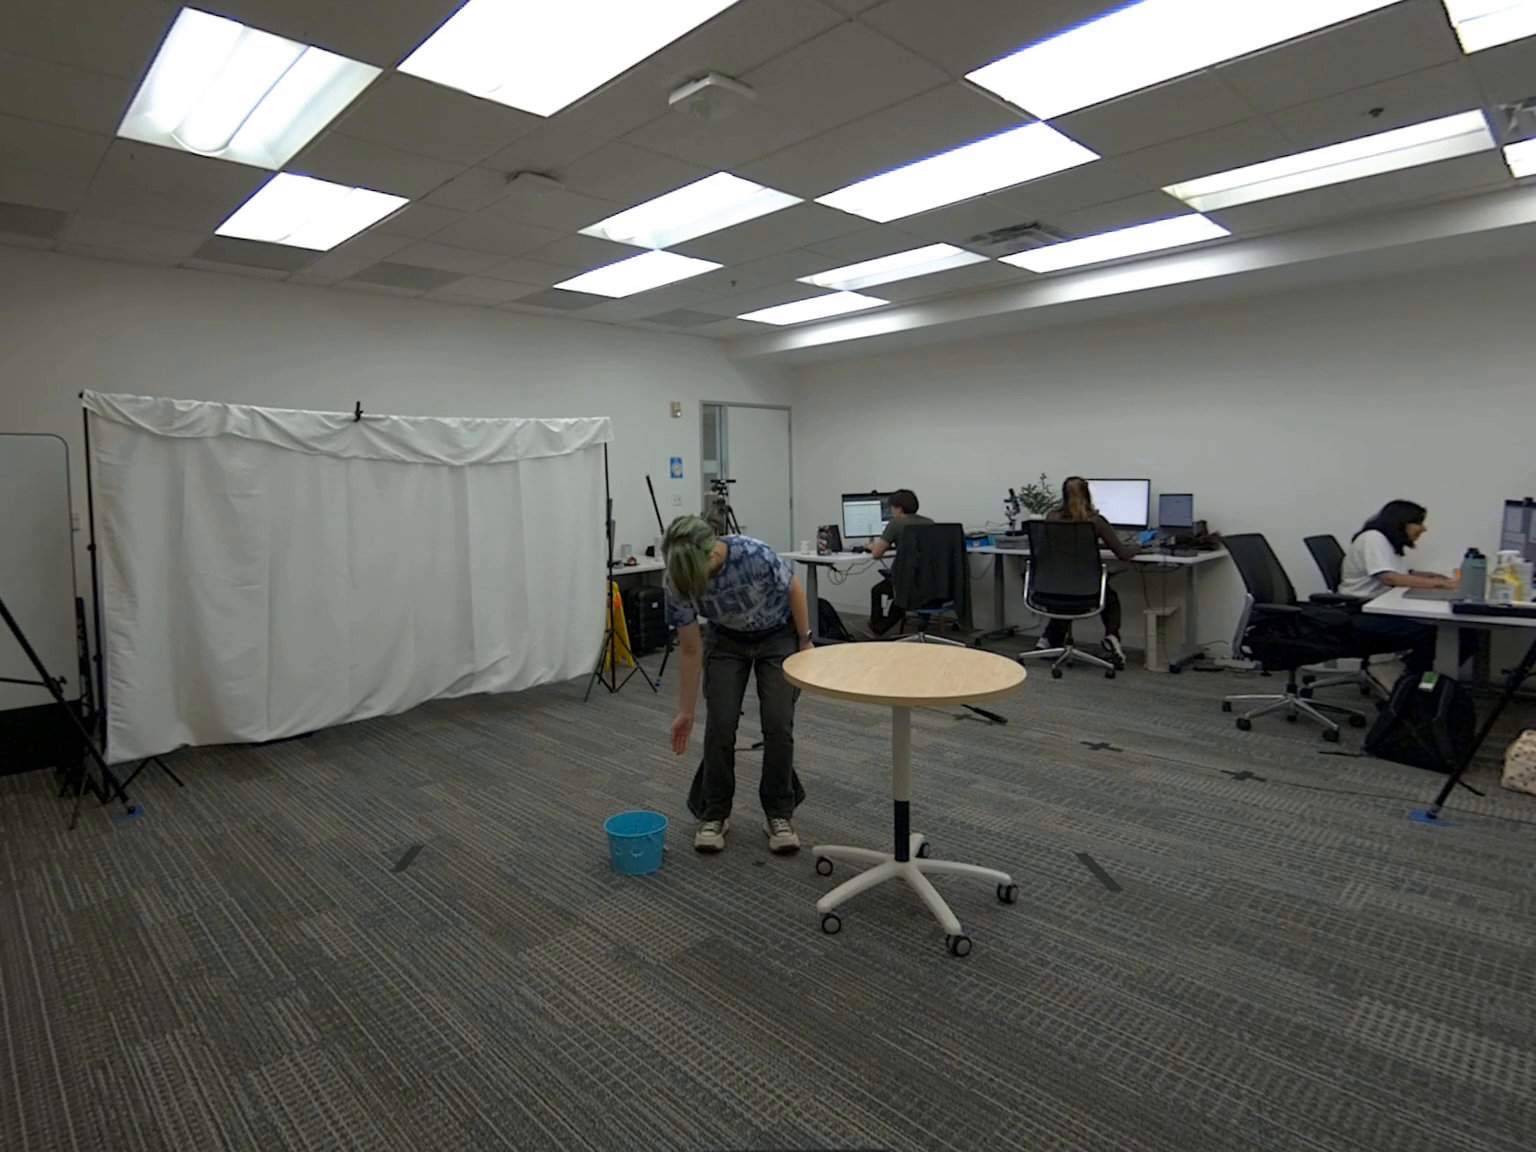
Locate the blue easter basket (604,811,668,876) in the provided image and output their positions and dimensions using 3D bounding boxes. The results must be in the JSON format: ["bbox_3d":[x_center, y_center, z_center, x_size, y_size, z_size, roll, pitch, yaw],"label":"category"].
[{"bbox_3d":[-0.475,0.975,3.119,0.243,0.155,0.245,-2,5,-2],"label":"blue easter basket"}]
